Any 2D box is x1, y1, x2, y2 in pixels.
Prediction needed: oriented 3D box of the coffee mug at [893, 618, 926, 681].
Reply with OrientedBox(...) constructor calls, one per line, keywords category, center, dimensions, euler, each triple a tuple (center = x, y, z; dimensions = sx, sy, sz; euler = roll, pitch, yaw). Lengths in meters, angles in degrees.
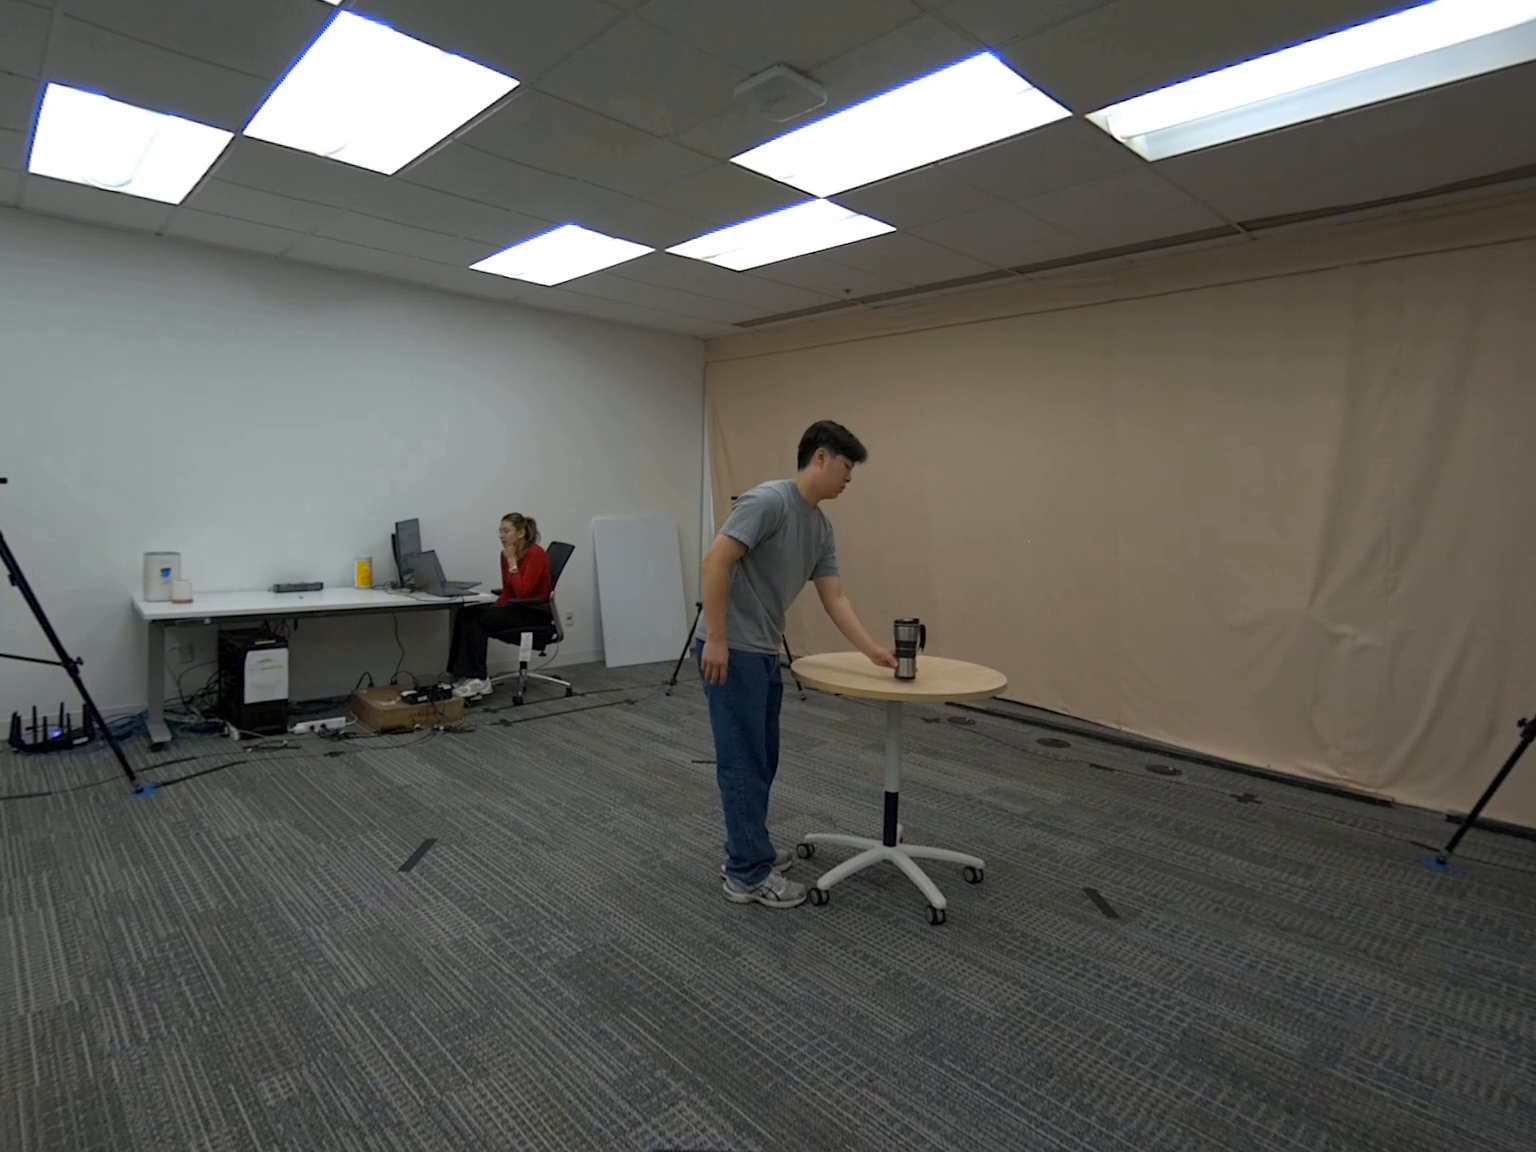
OrientedBox(category="coffee mug", center=(0.485, 0.245, 2.864), dimensions=(0.122, 0.203, 0.087), euler=(-1, -3, 1))
